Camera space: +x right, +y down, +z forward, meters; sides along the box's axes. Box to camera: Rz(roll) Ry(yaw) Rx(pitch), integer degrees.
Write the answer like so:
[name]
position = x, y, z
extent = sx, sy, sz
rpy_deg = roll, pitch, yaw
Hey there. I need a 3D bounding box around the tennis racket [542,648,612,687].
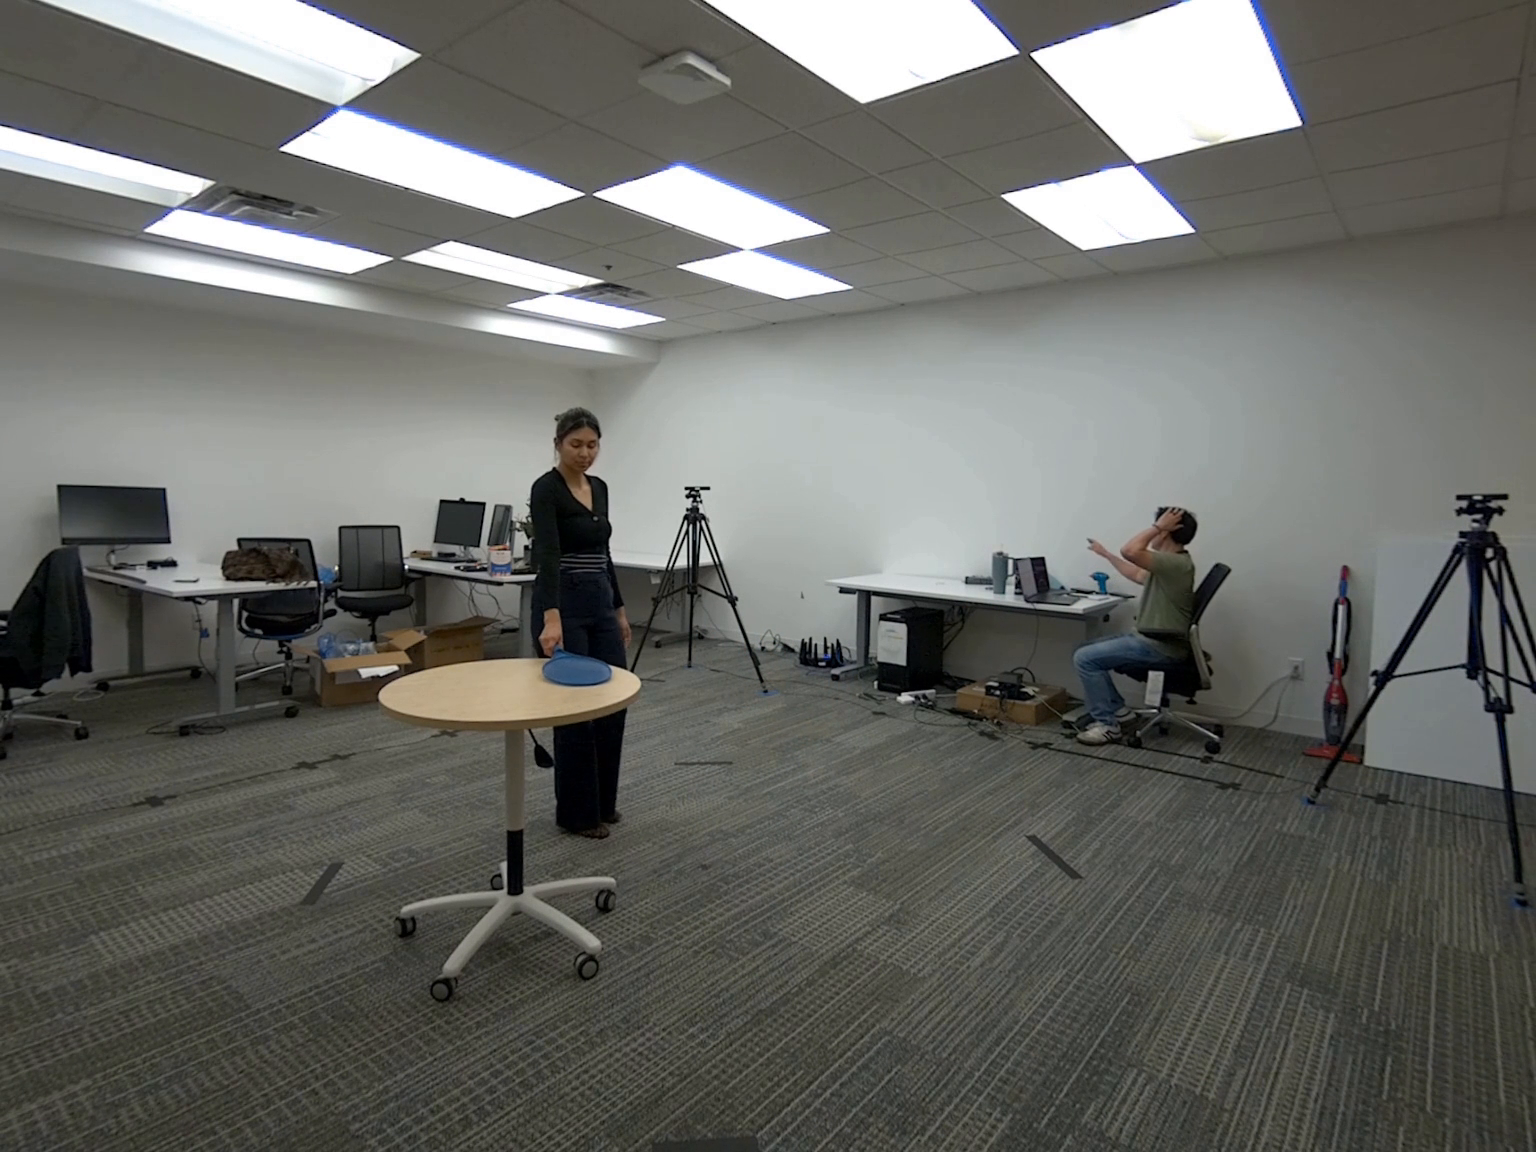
[tennis racket]
position = -0.654, 0.284, 2.757
extent = 0.208, 0.031, 0.448
rpy_deg = -4, 12, -29
